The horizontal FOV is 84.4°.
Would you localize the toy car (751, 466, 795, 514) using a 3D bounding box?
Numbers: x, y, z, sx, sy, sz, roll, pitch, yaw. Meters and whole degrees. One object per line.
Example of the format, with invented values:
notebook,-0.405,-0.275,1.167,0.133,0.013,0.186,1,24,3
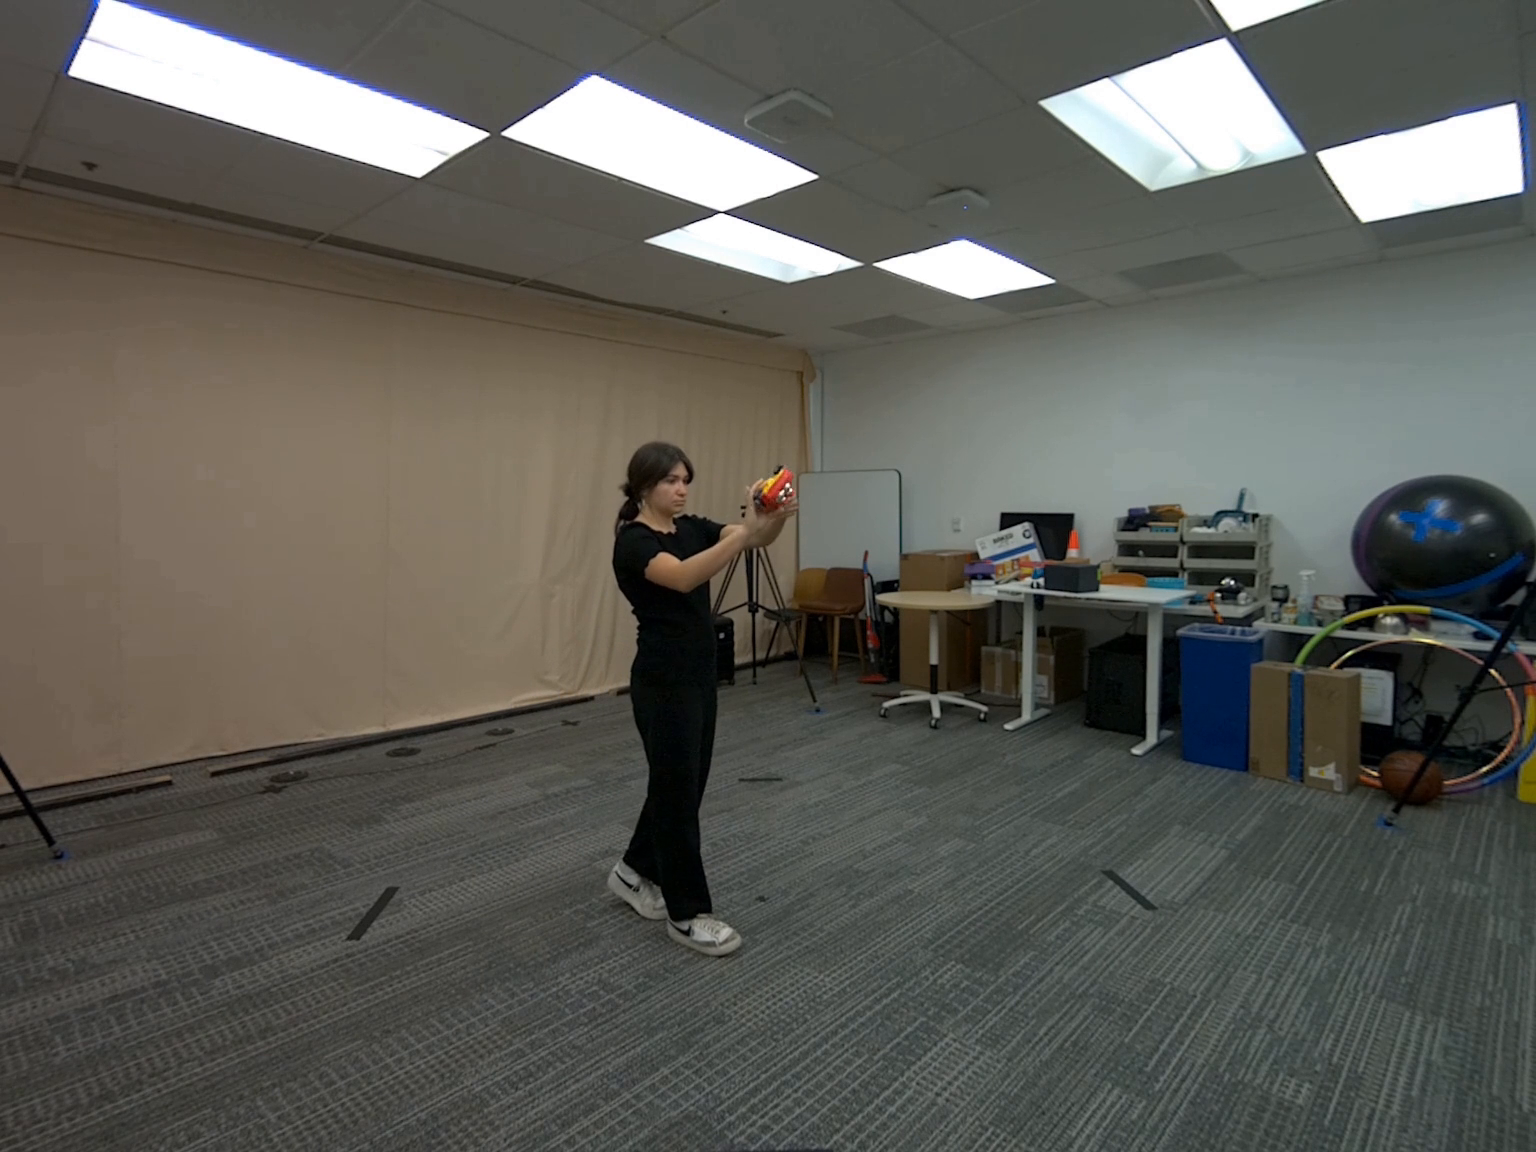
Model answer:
toy car,0.021,-0.230,2.311,0.082,0.130,0.257,42,-7,-9
